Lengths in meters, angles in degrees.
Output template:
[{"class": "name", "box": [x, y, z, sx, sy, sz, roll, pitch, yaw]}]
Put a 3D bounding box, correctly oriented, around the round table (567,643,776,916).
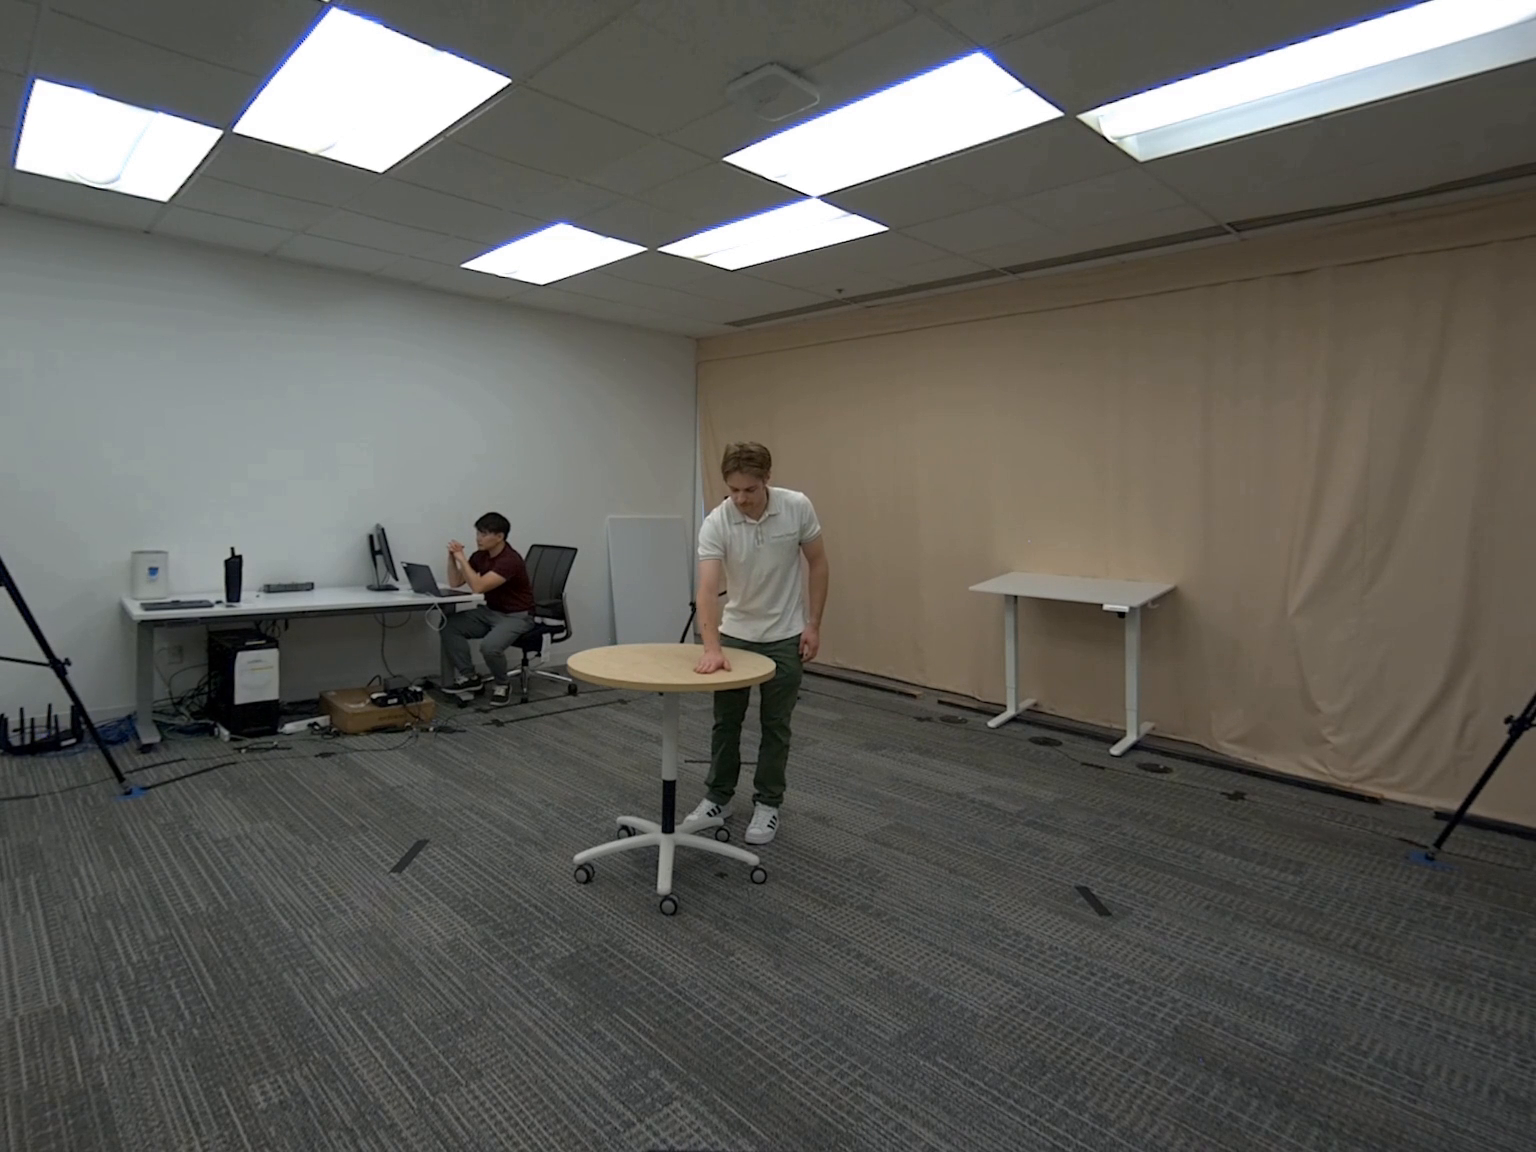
[{"class": "round table", "box": [-0.387, 0.703, 3.120, 0.784, 0.785, 0.787, 2, 4, -1]}]
